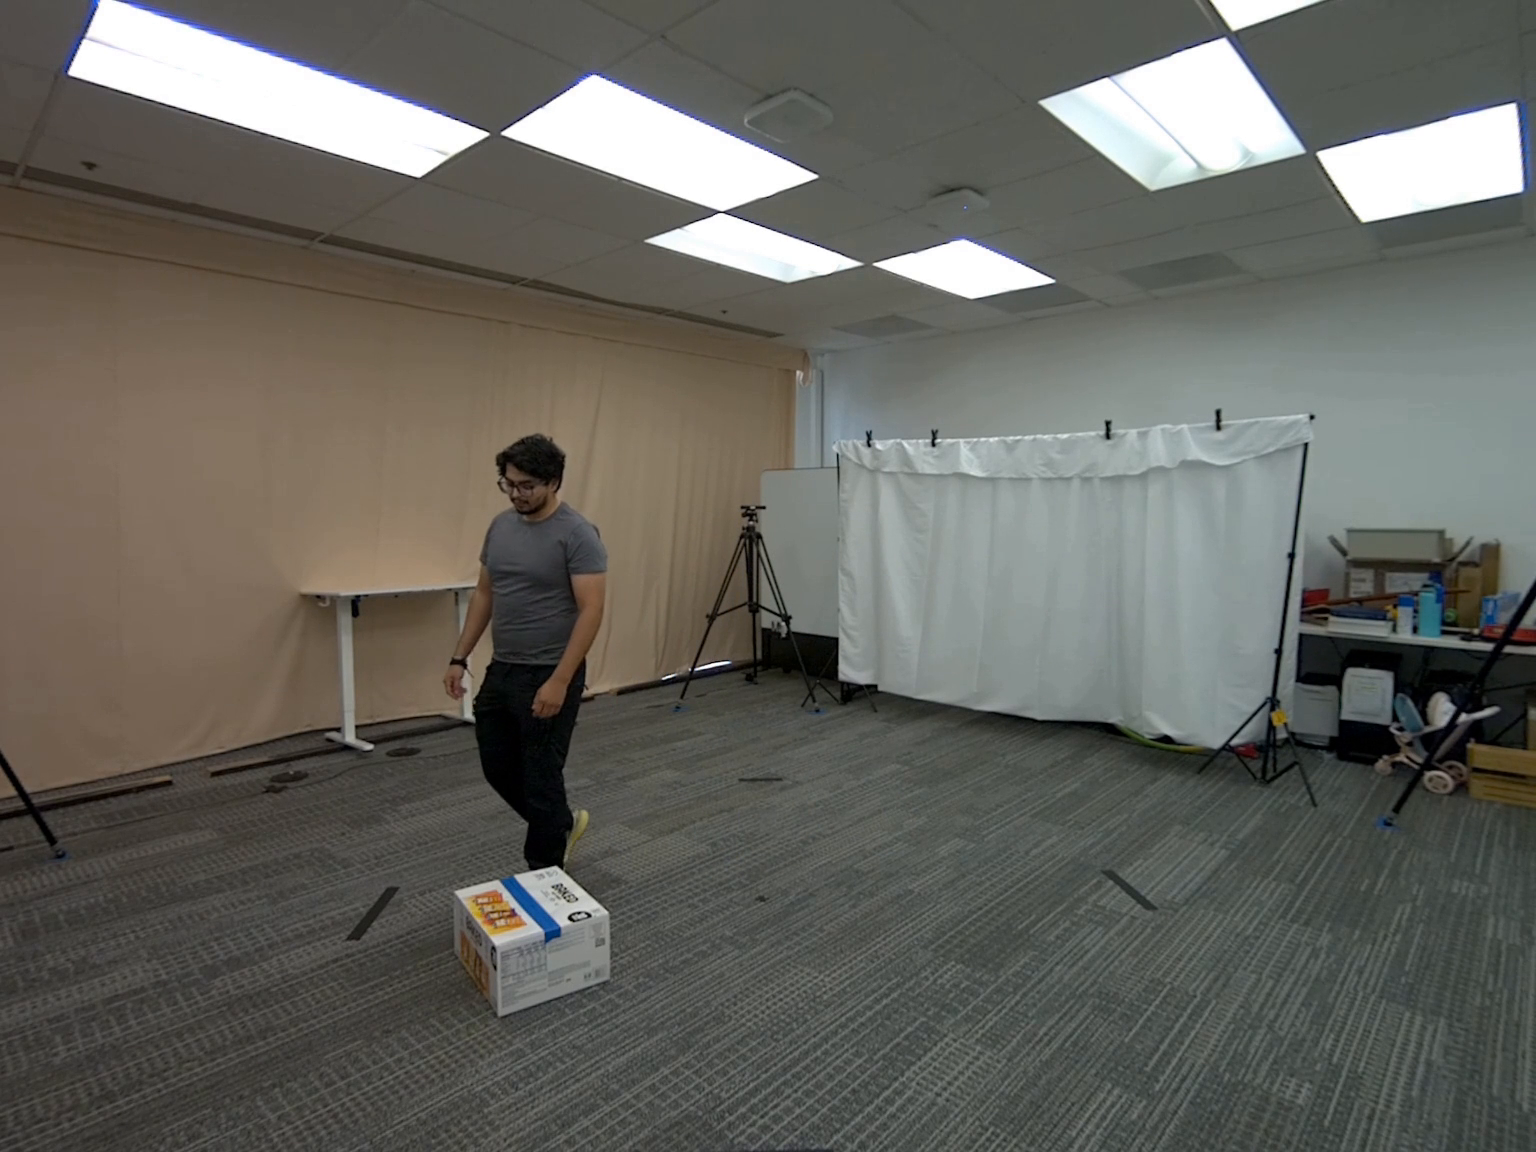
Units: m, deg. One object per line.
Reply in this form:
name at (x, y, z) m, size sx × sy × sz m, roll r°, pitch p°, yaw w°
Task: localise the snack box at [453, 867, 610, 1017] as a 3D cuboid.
snack box at (-0.718, 1.085, 2.536) m, size 0.330 × 0.205 × 0.418 m, roll -4°, pitch 5°, yaw -35°
